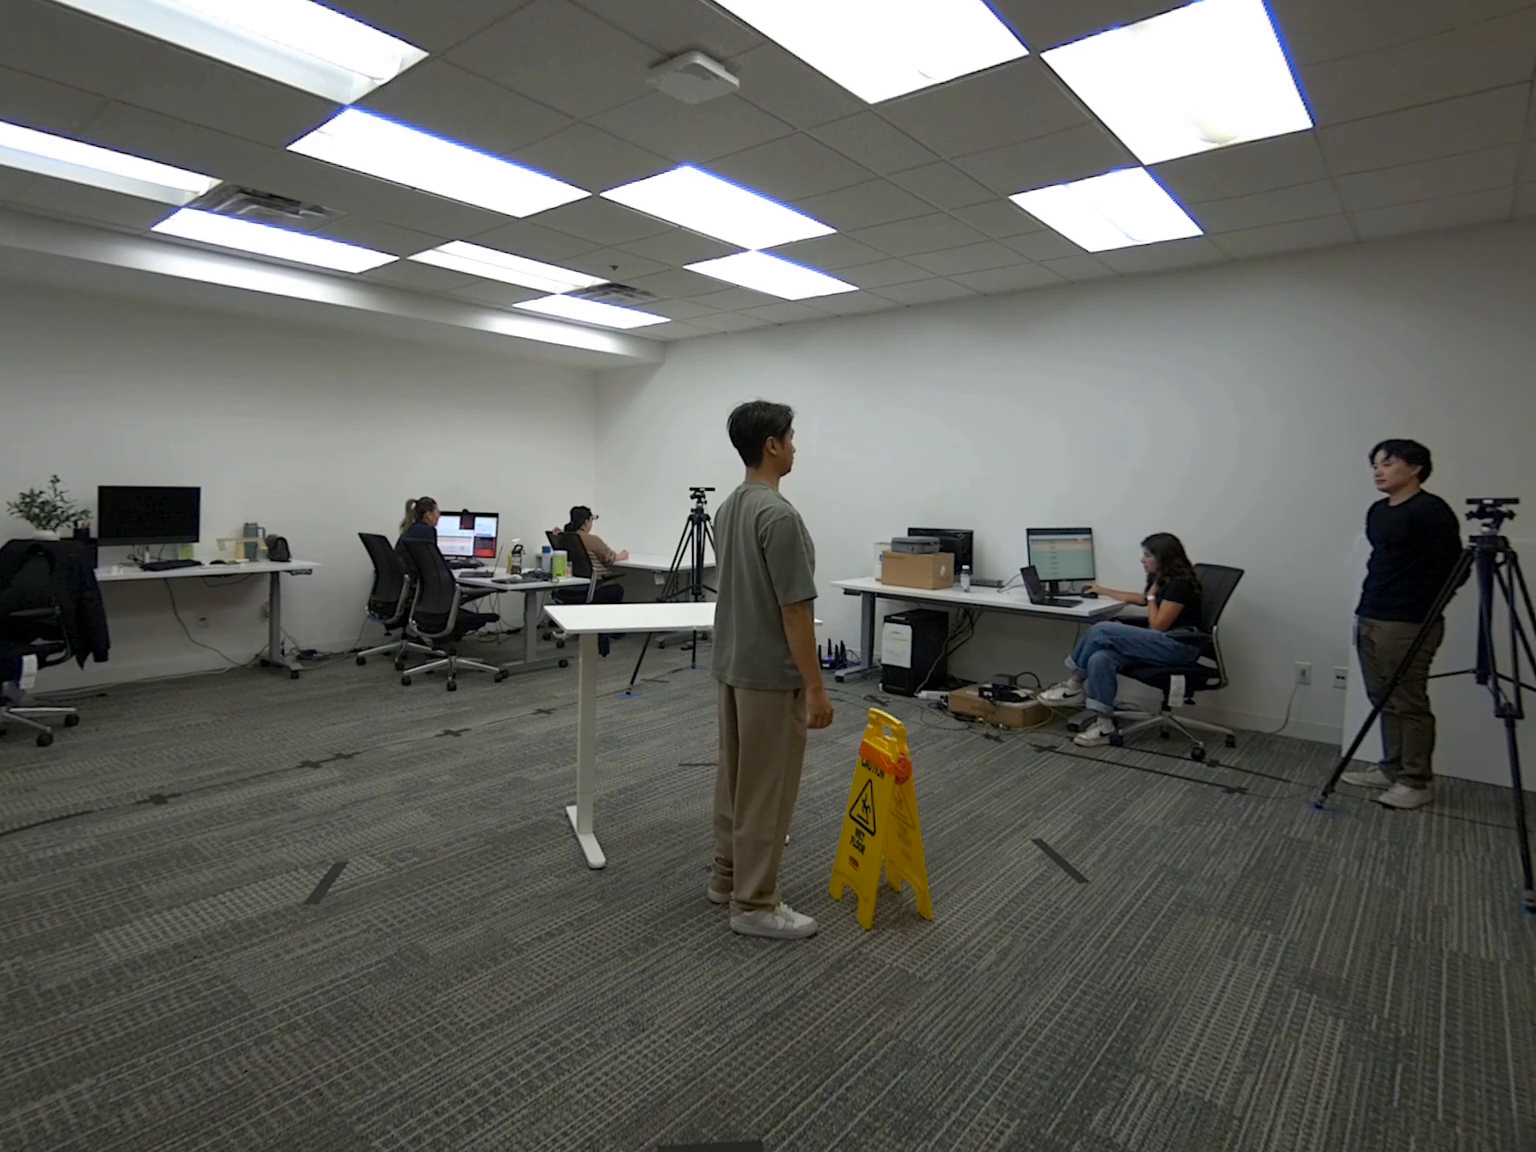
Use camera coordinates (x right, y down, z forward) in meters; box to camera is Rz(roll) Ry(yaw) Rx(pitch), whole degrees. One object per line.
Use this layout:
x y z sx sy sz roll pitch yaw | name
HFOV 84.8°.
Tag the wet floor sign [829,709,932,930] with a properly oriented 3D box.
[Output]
0.377 0.781 2.839 0.284 0.644 0.289 2 4 -20 | wet floor sign
